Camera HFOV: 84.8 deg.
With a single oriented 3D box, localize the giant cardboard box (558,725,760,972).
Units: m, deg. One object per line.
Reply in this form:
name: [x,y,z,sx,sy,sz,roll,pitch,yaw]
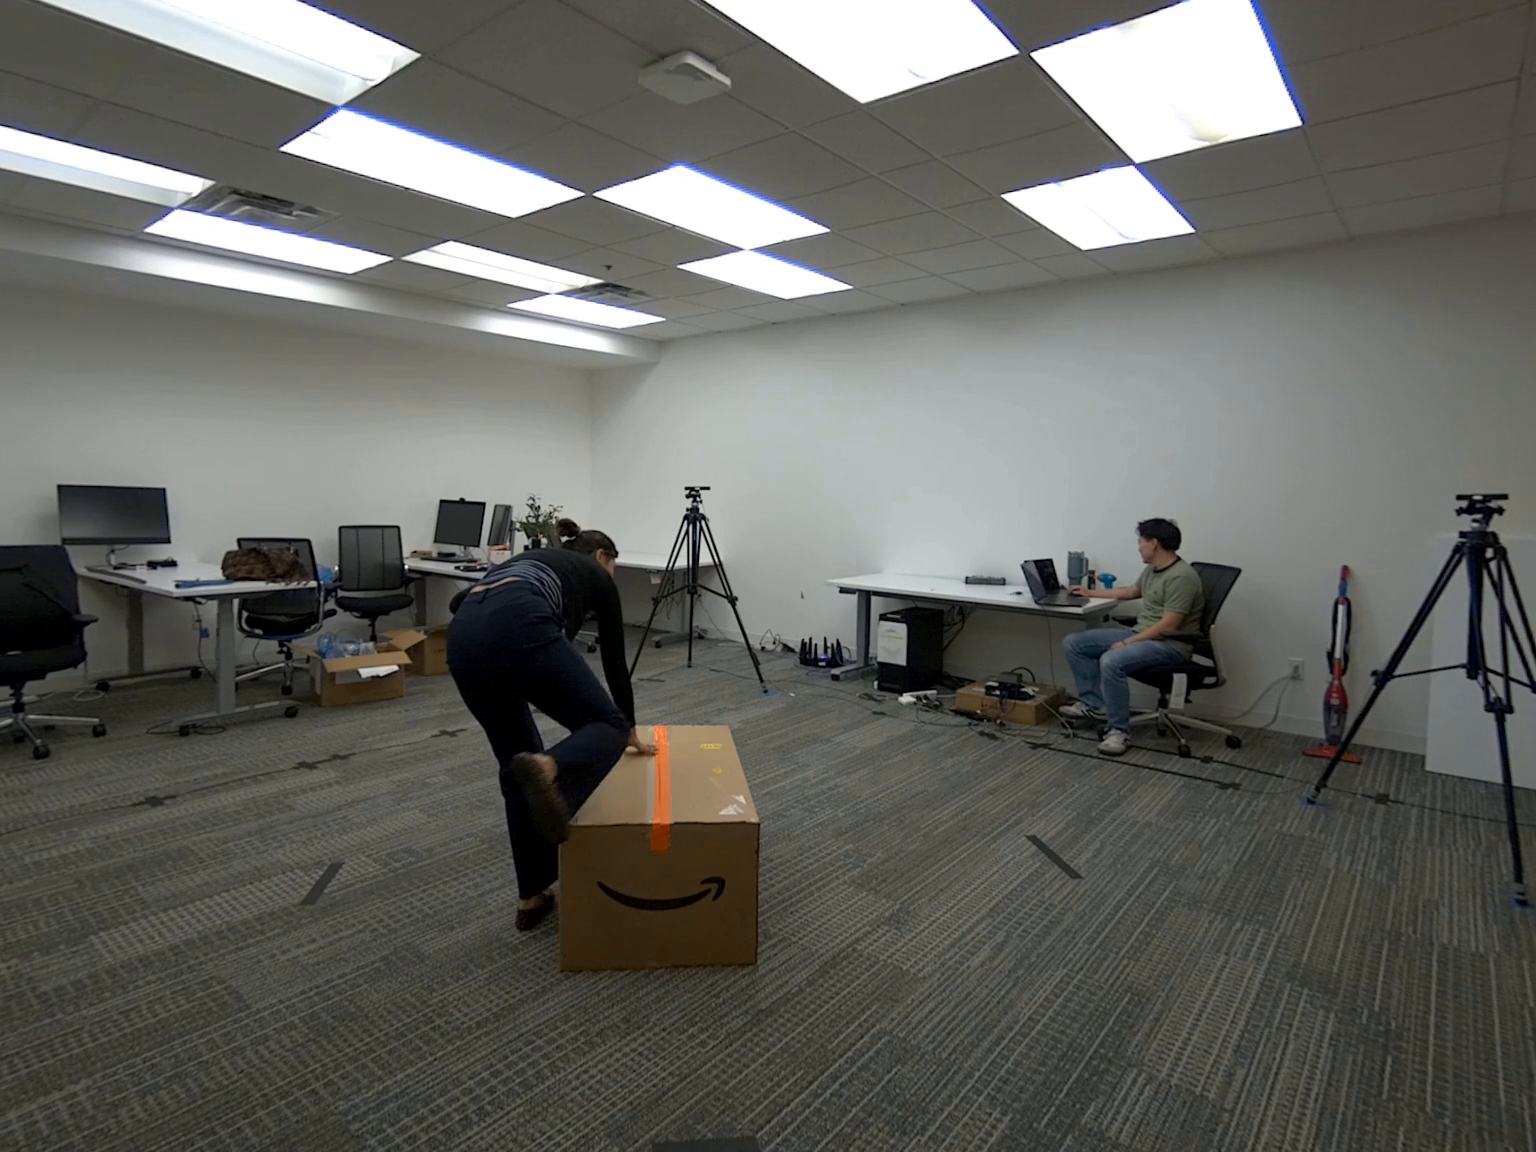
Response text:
giant cardboard box: [-0.387,0.867,2.945,0.574,0.424,1.036,1,5,-7]
